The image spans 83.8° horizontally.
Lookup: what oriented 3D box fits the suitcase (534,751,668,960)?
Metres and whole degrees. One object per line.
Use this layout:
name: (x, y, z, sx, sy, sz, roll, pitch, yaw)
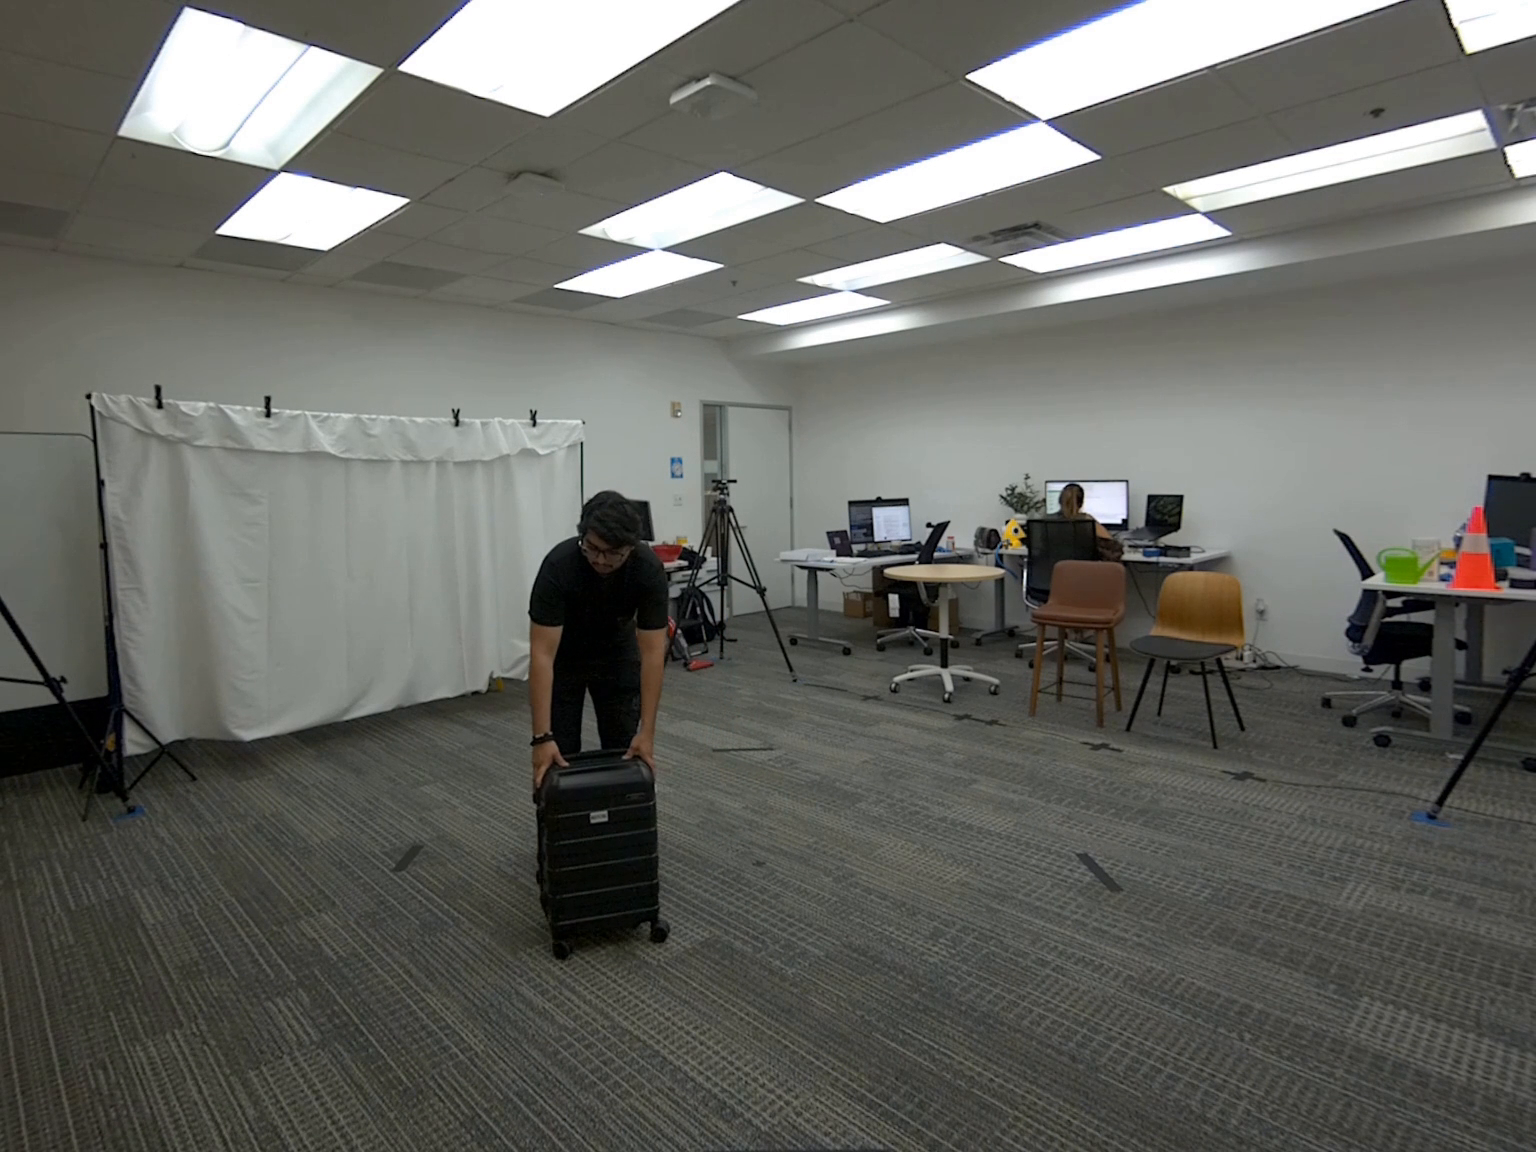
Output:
suitcase: (-0.526, 0.832, 2.667, 0.369, 0.548, 0.253, -3, 3, -19)
